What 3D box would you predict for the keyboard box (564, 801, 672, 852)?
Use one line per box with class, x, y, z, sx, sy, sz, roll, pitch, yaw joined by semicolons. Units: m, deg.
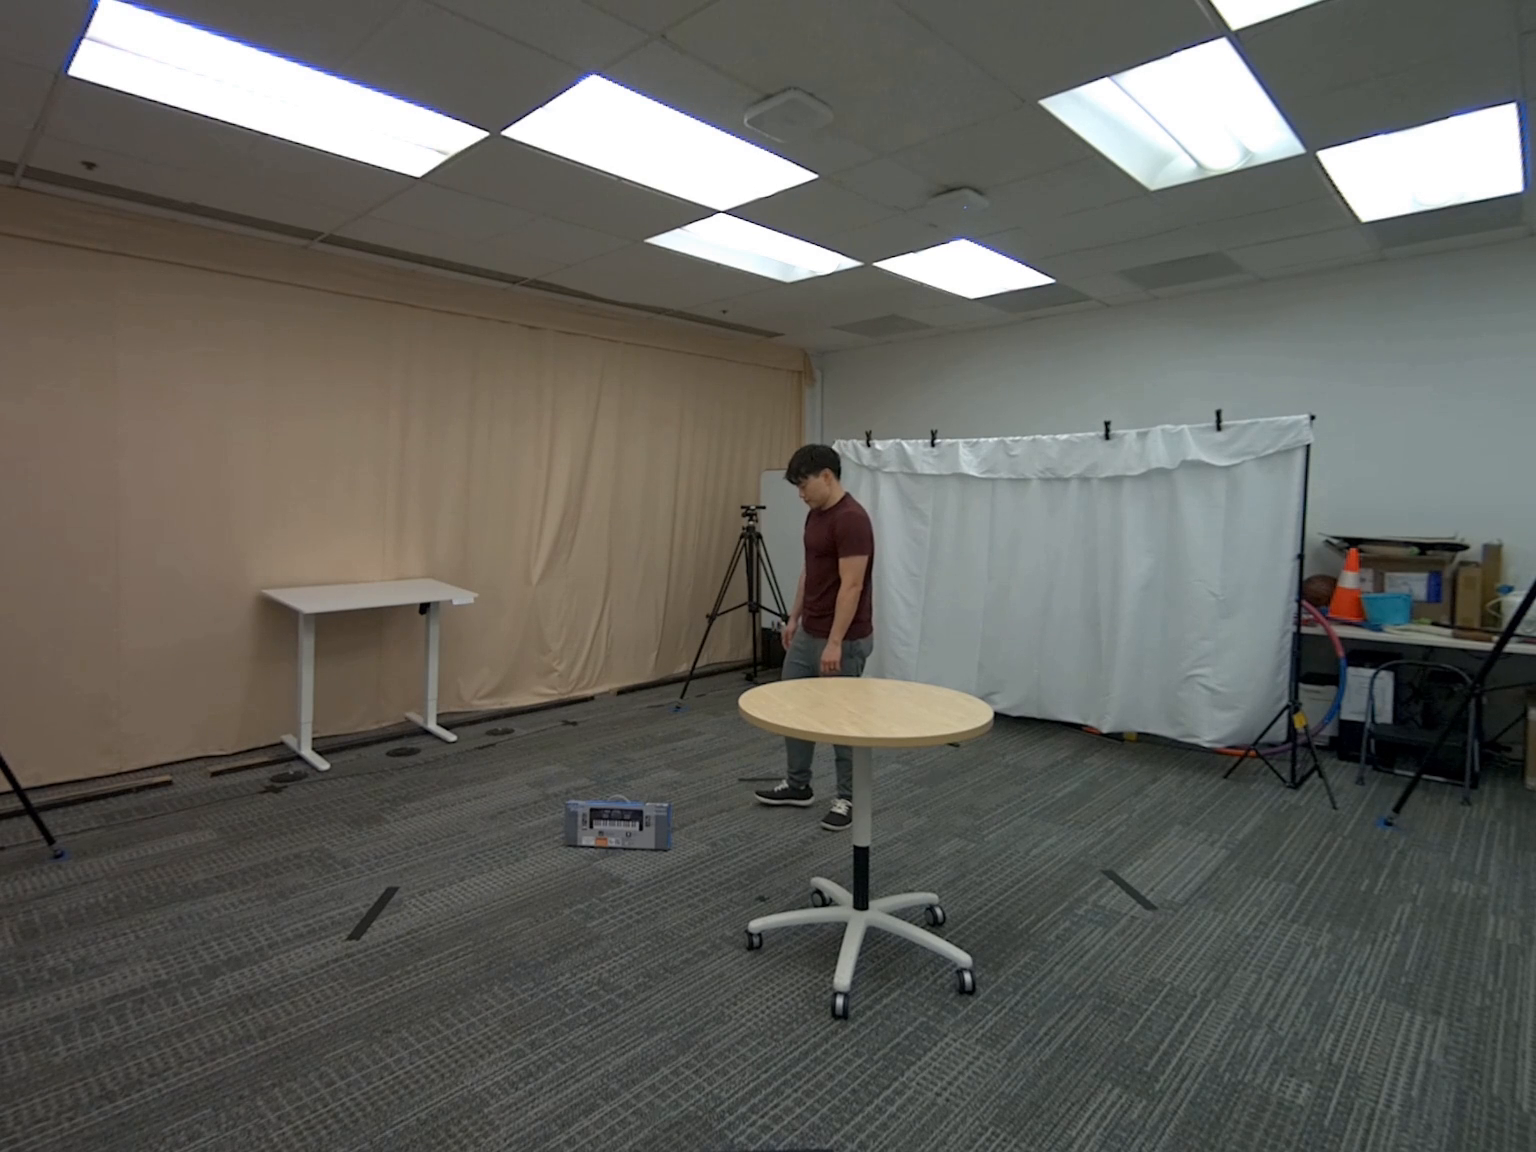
keyboard box;-0.619;1.022;3.460;0.440;0.176;0.058;0;-5;8
